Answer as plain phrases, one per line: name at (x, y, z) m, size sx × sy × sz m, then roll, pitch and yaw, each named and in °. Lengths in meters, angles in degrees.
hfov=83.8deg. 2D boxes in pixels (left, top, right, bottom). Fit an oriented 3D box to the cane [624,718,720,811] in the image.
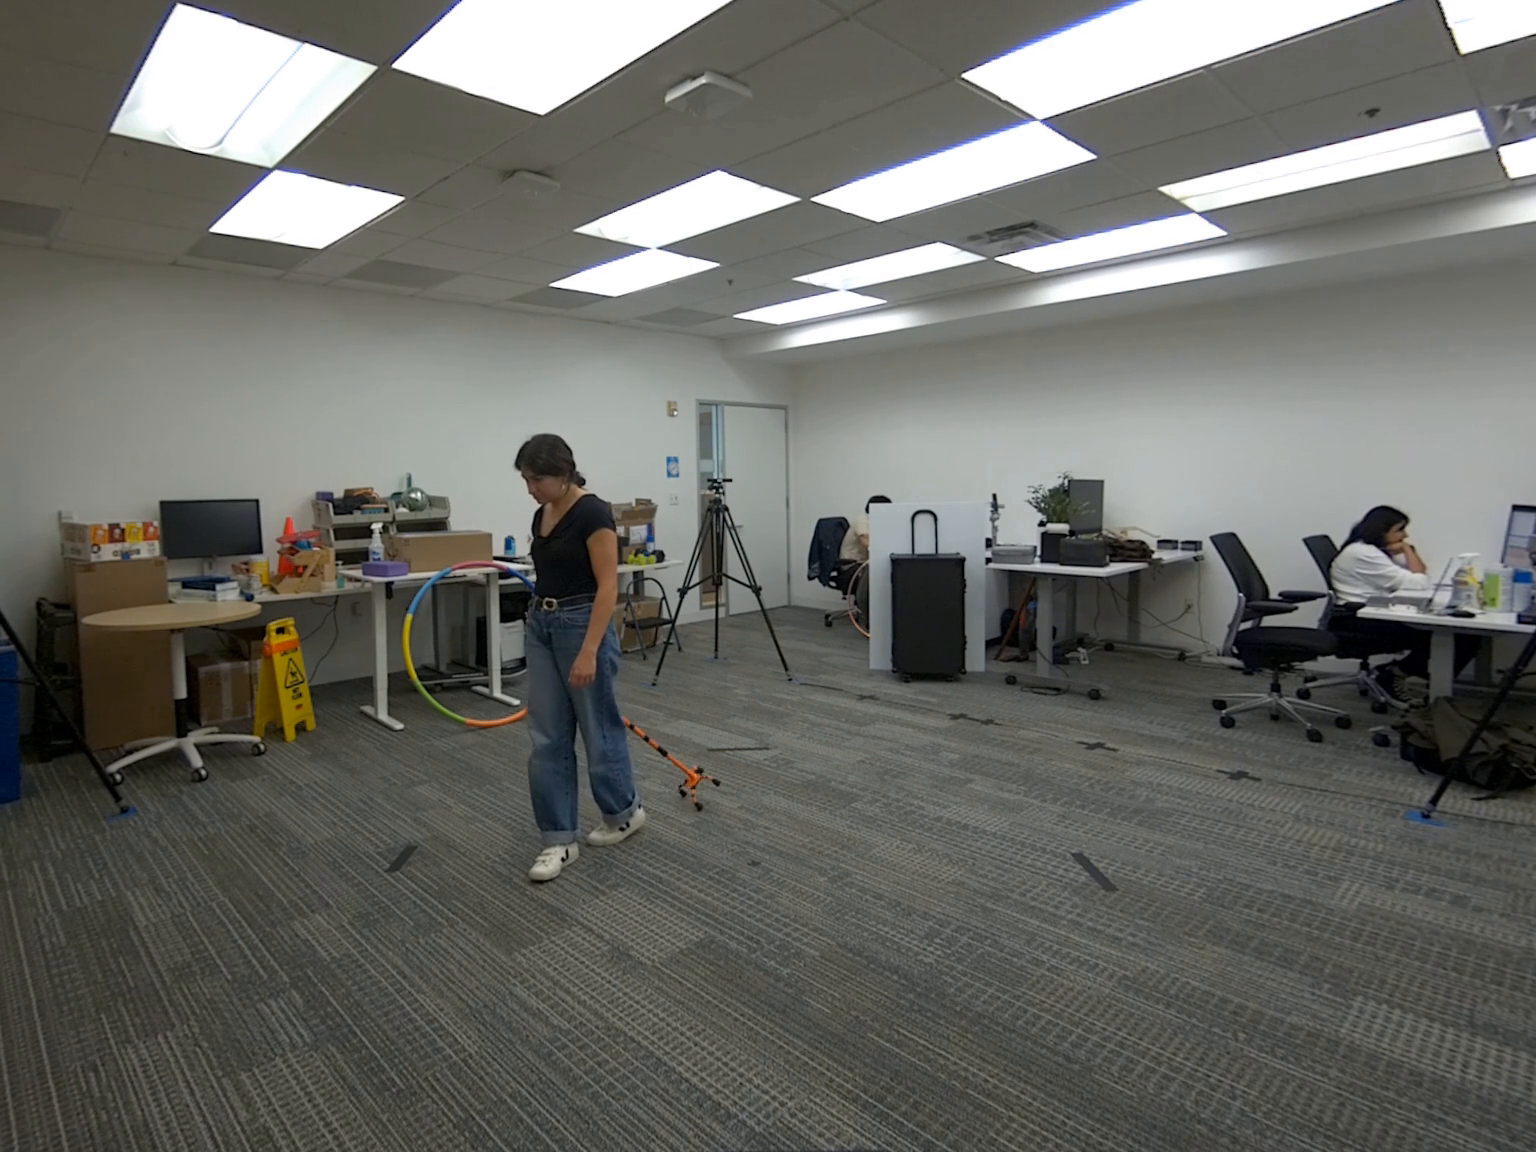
cane at (-0.584, 0.635, 3.562) m, size 0.886 × 0.152 × 0.211 m, roll 44°, pitch -16°, yaw -19°
